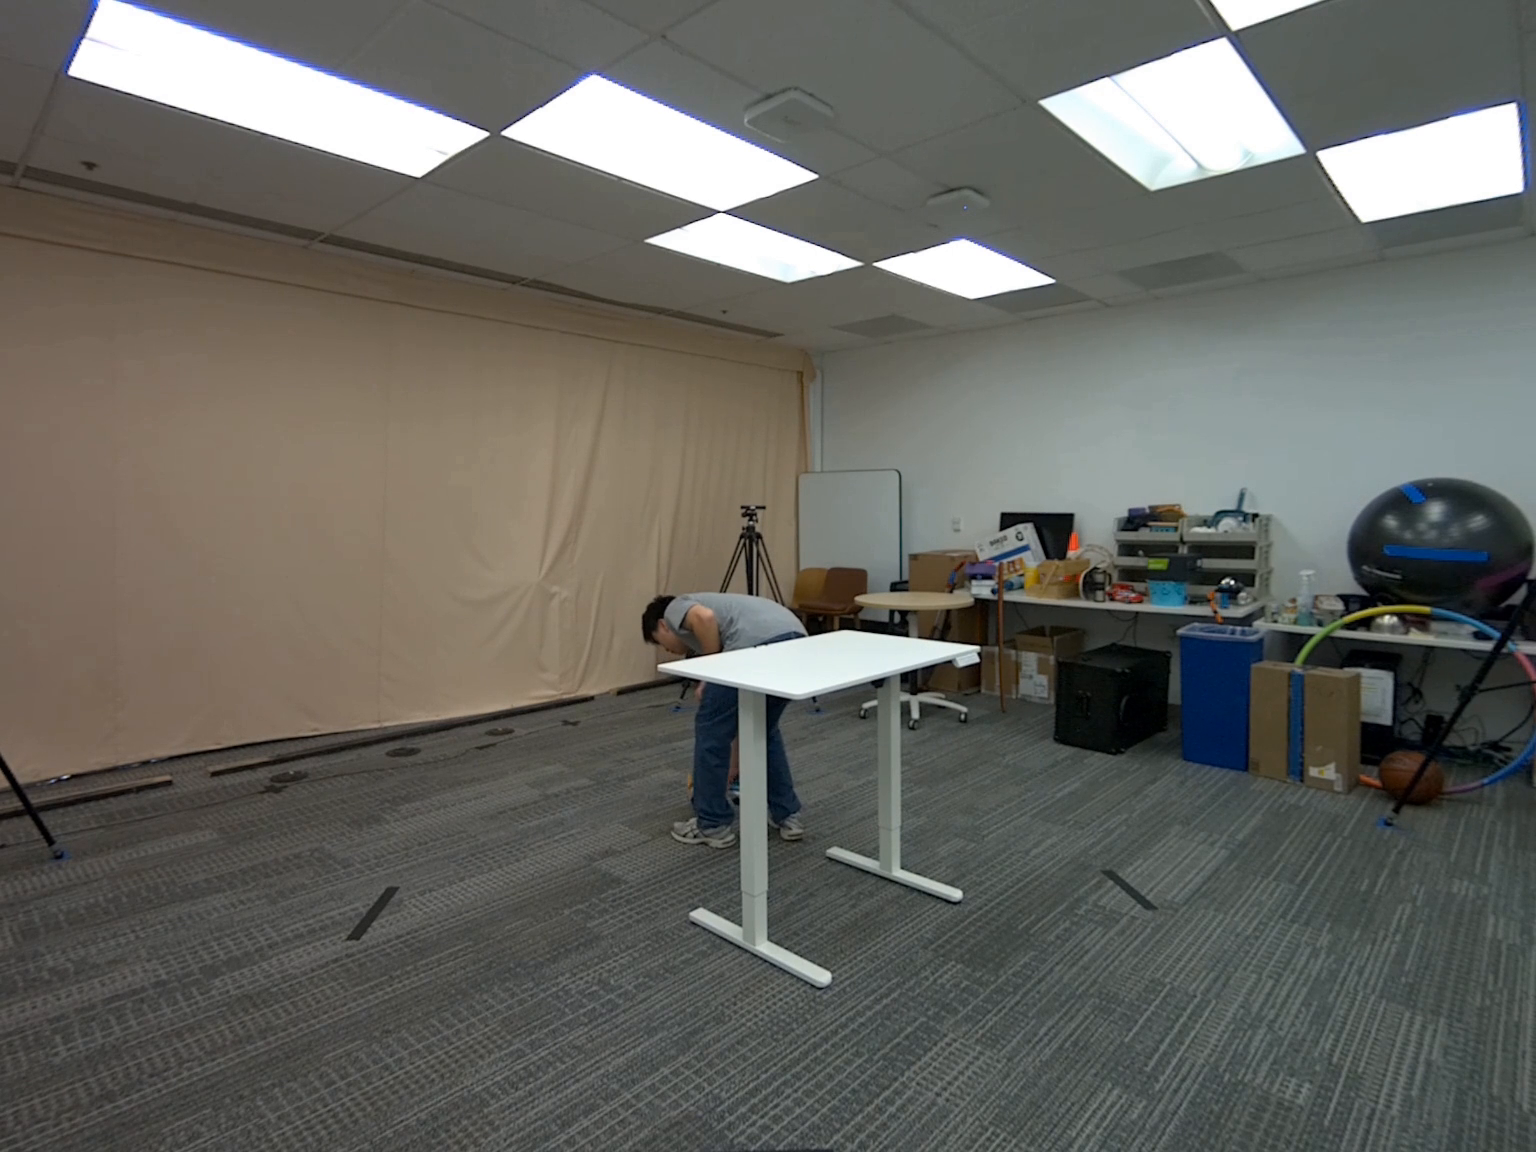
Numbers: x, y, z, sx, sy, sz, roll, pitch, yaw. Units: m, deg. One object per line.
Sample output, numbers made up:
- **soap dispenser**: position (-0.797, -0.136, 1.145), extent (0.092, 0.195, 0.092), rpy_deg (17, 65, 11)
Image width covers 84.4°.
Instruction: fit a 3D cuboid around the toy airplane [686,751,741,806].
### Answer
- **toy airplane**: position (-0.251, 0.962, 3.824), extent (0.252, 0.156, 0.259), rpy_deg (-9, 5, -38)
